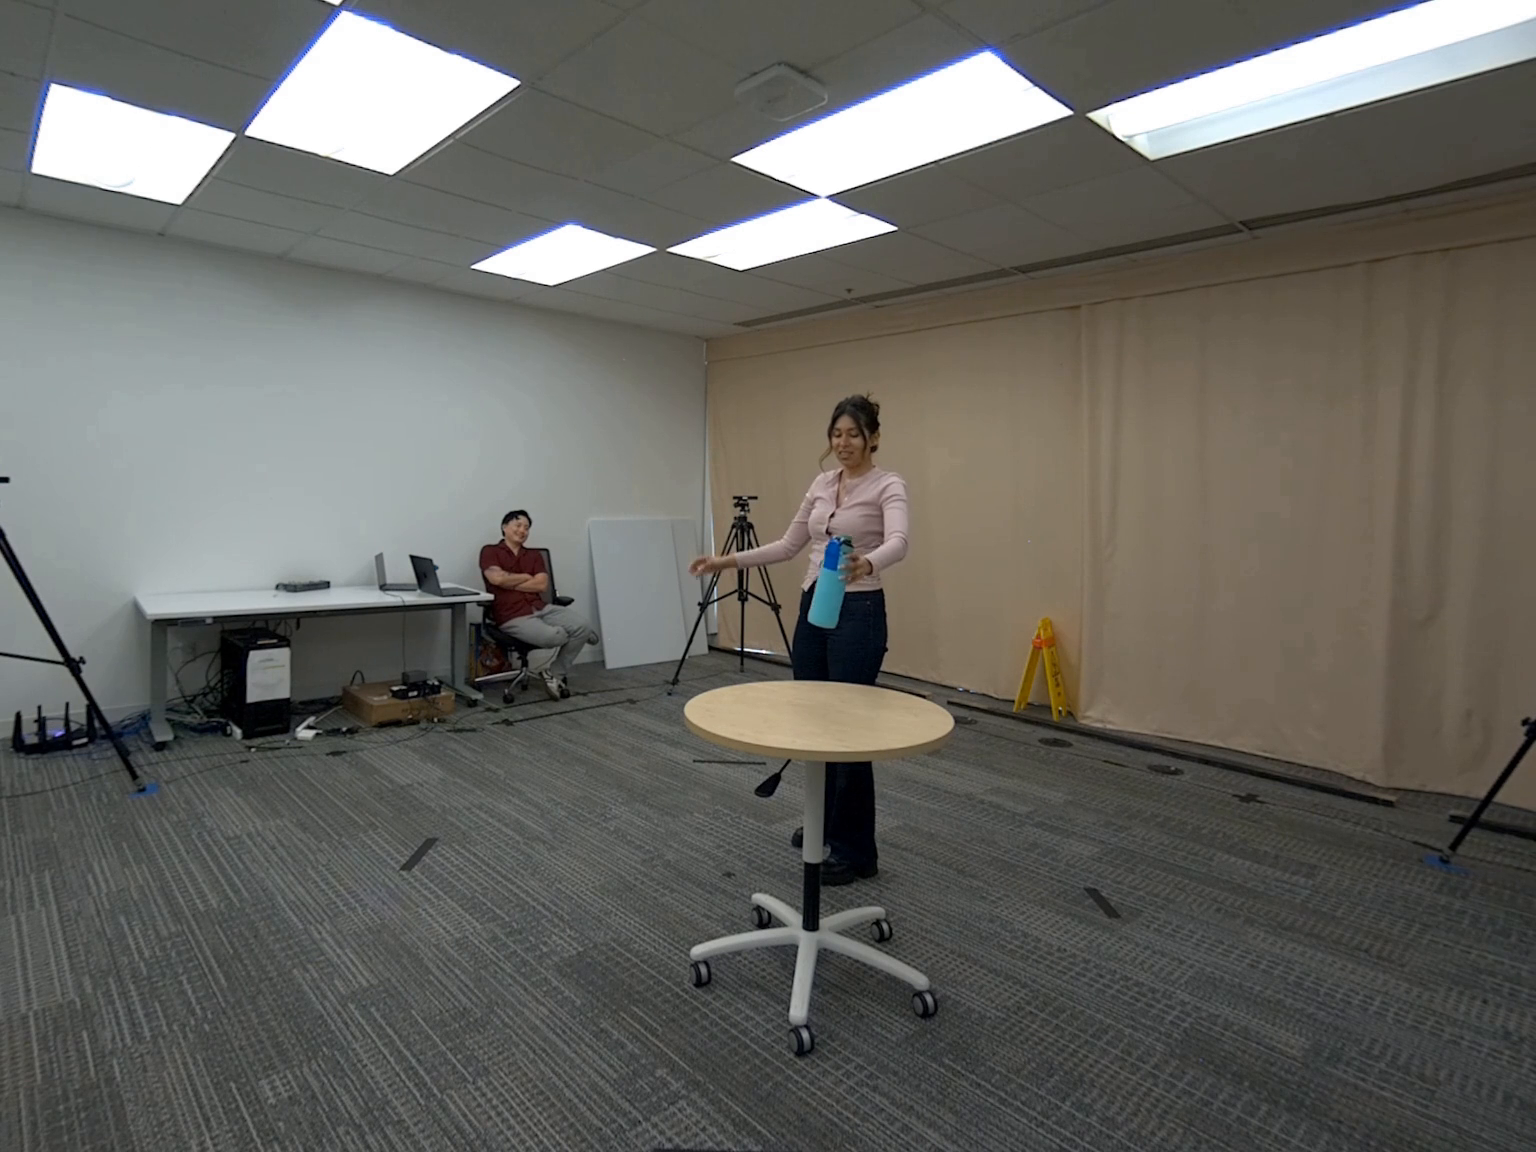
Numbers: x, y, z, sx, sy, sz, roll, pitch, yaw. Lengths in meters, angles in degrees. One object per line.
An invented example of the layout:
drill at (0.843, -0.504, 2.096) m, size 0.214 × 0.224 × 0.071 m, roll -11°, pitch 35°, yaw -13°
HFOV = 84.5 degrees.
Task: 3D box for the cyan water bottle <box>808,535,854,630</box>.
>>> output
cyan water bottle at (0.178, 0.006, 2.535) m, size 0.092 × 0.282 × 0.093 m, roll 7°, pitch 9°, yaw -3°
